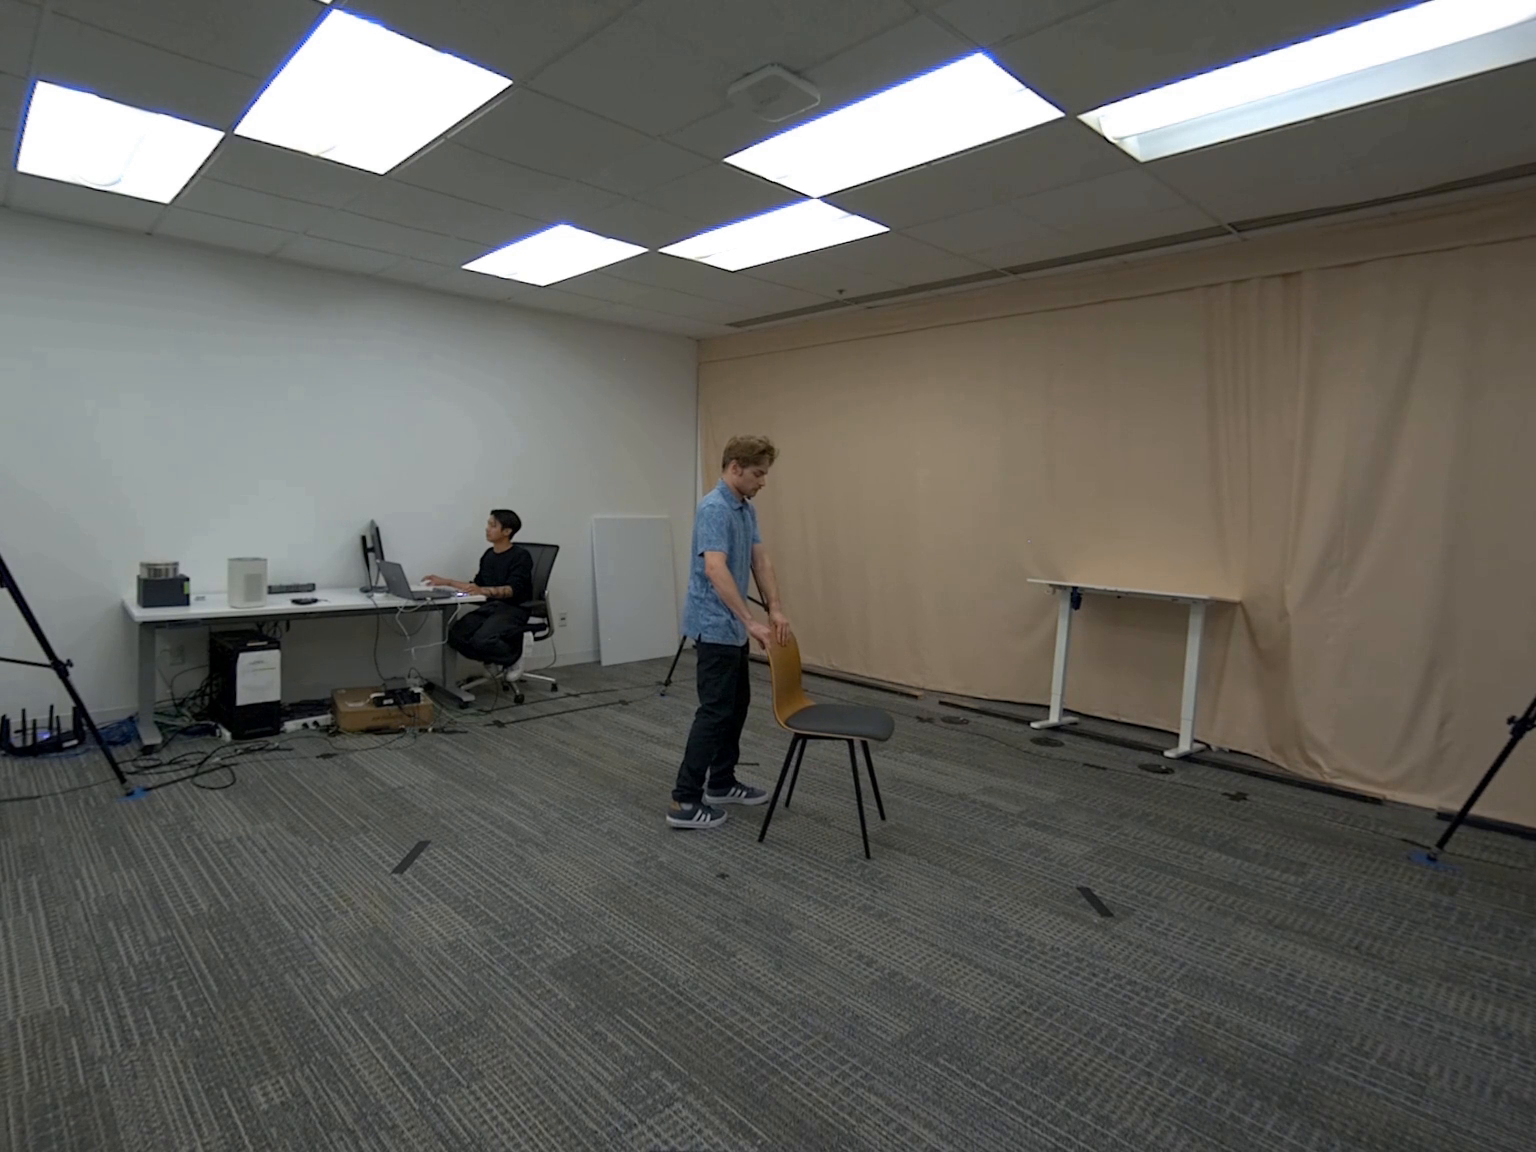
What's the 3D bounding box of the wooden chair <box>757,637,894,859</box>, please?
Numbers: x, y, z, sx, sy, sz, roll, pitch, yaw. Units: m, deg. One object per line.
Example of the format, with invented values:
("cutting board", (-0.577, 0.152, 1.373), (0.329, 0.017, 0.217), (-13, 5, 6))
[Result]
("wooden chair", (0.250, 0.649, 3.527), (0.530, 0.876, 0.472), (-2, 1, 18))
